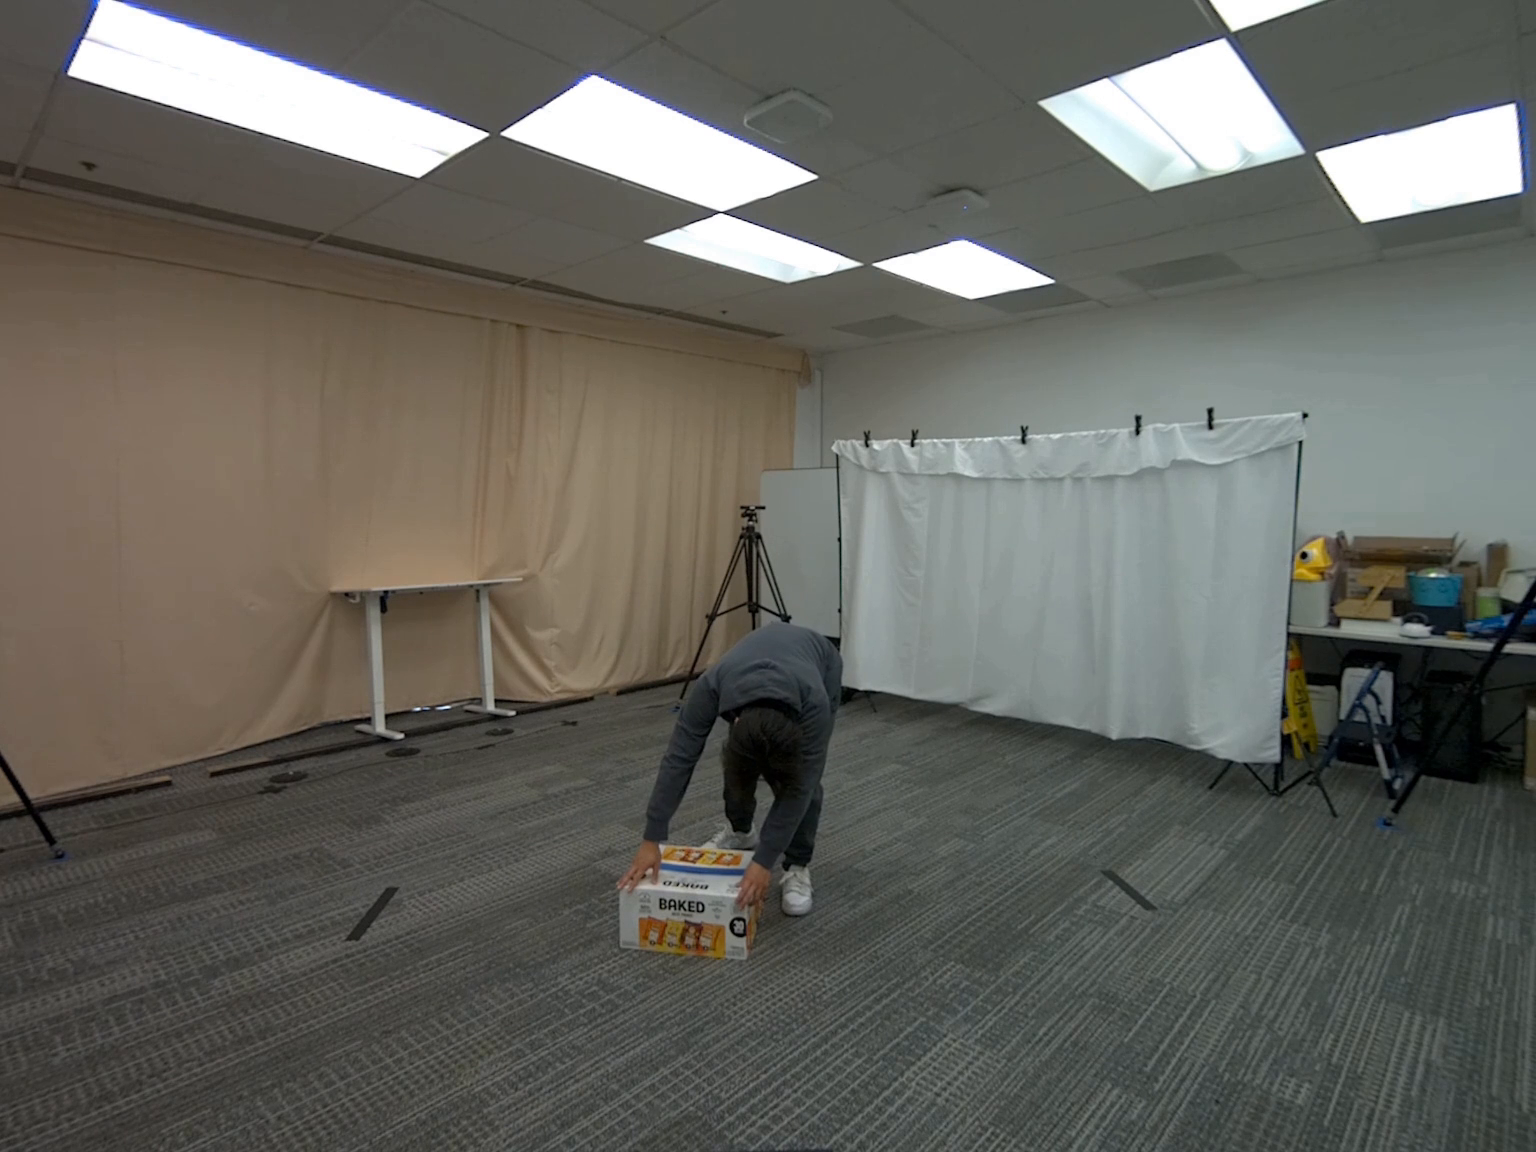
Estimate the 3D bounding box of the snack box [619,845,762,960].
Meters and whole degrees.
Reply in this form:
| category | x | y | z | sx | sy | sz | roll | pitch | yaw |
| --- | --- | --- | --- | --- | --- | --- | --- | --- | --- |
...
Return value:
| category | x | y | z | sx | sy | sz | roll | pitch | yaw |
| --- | --- | --- | --- | --- | --- | --- | --- | --- | --- |
| snack box | -0.242 | 1.066 | 2.770 | 0.410 | 0.205 | 0.337 | 1 | 4 | 10 |
